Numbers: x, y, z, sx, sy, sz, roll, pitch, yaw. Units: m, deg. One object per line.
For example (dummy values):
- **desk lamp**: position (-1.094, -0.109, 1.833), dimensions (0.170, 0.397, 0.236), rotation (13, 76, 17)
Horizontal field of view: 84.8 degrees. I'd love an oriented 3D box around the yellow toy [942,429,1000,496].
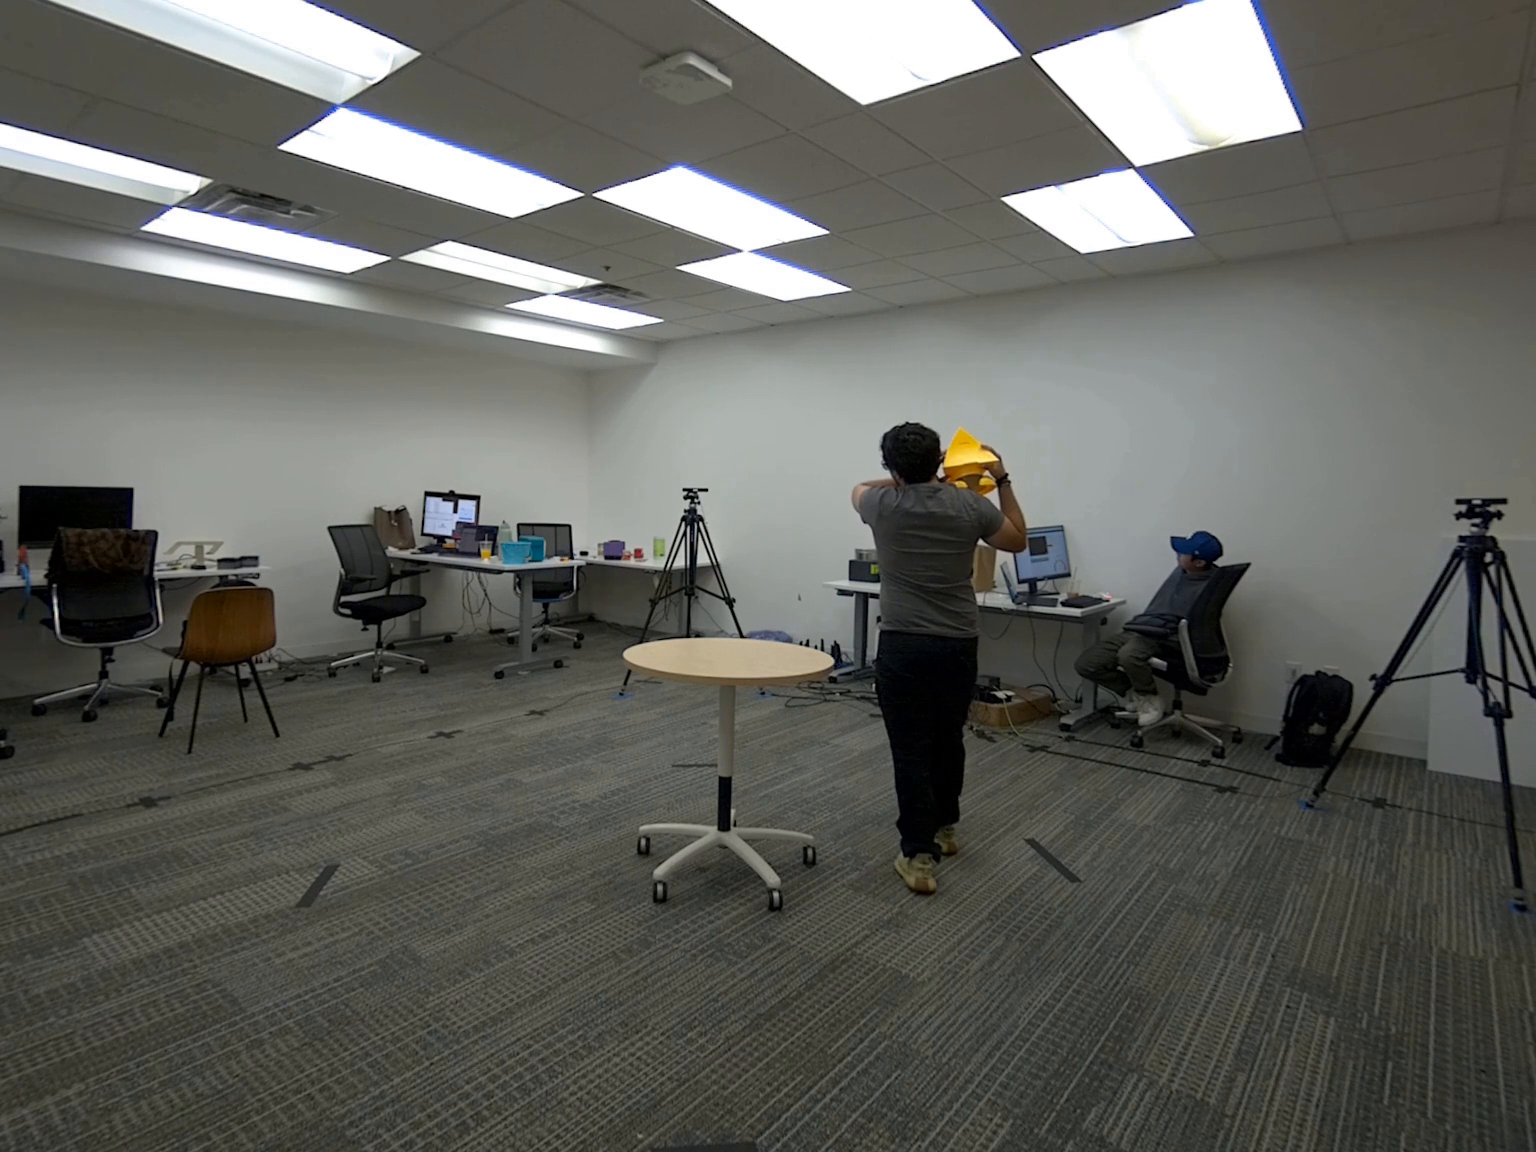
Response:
- **yellow toy**: position (0.716, -0.424, 3.150), dimensions (0.204, 0.234, 0.191), rotation (-8, -12, -2)
